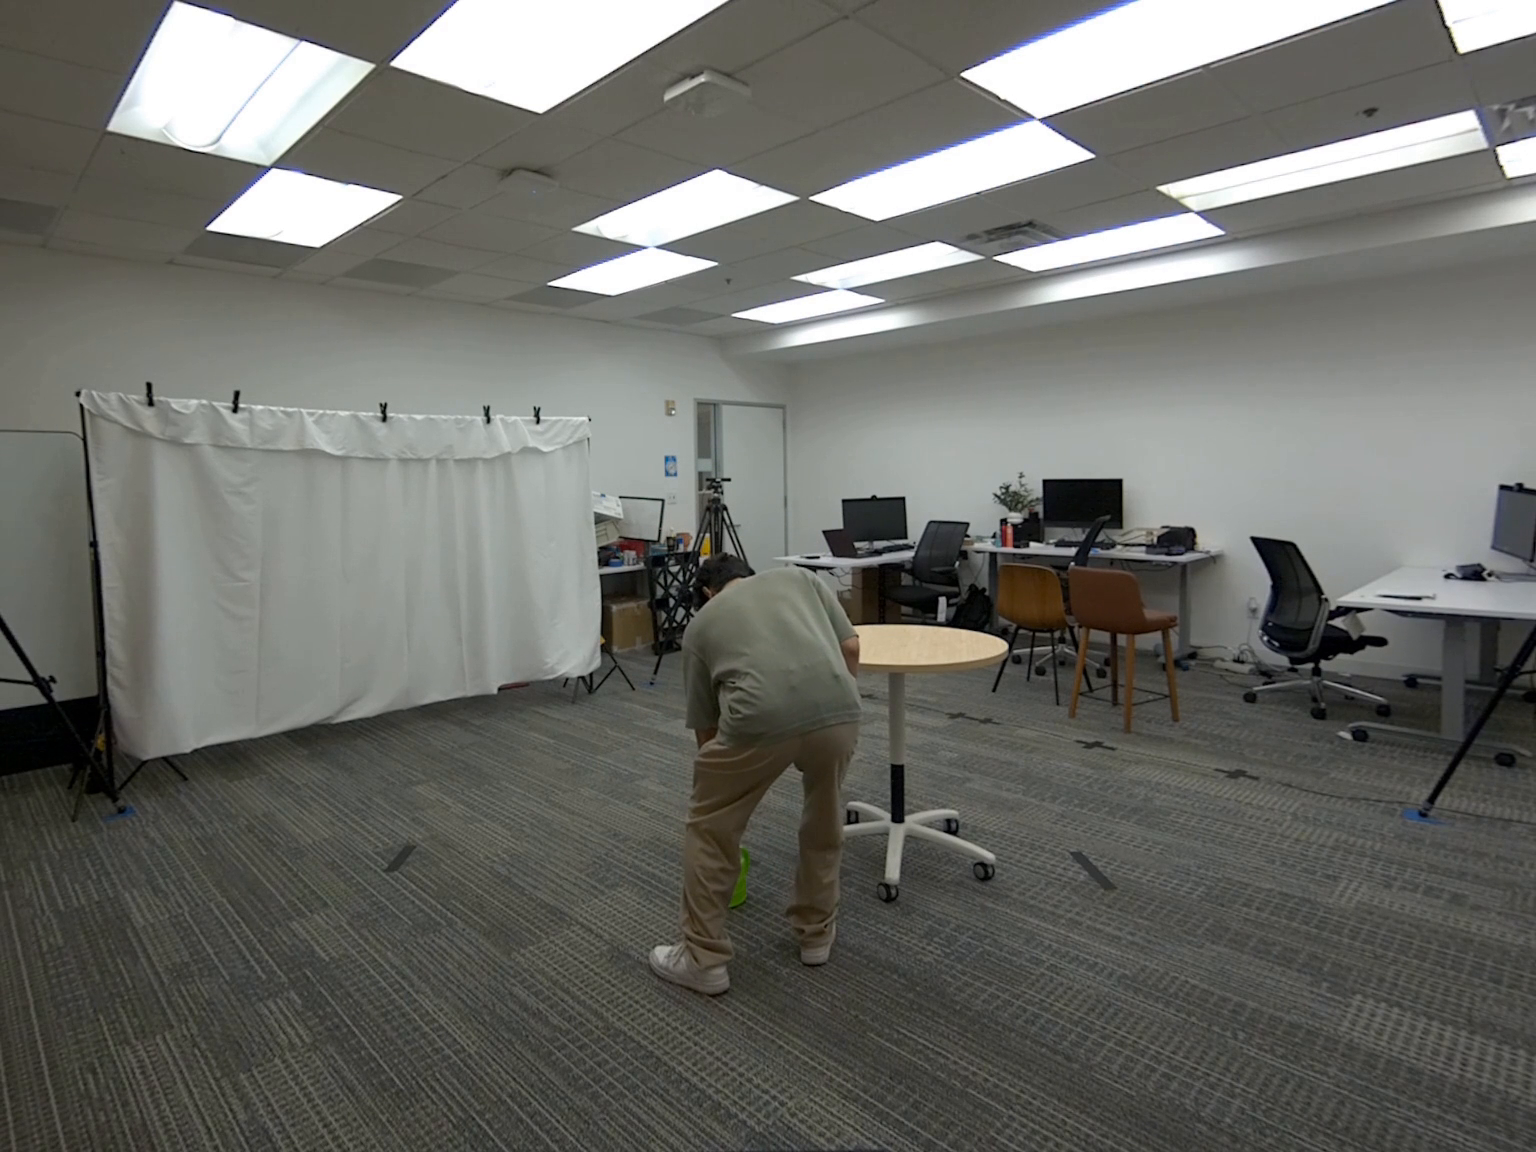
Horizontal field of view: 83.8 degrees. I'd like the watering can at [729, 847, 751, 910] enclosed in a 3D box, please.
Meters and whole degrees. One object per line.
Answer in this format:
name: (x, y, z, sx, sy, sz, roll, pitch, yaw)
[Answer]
watering can: (-0.150, 0.986, 2.799, 0.271, 0.176, 0.101, -4, 5, -35)
